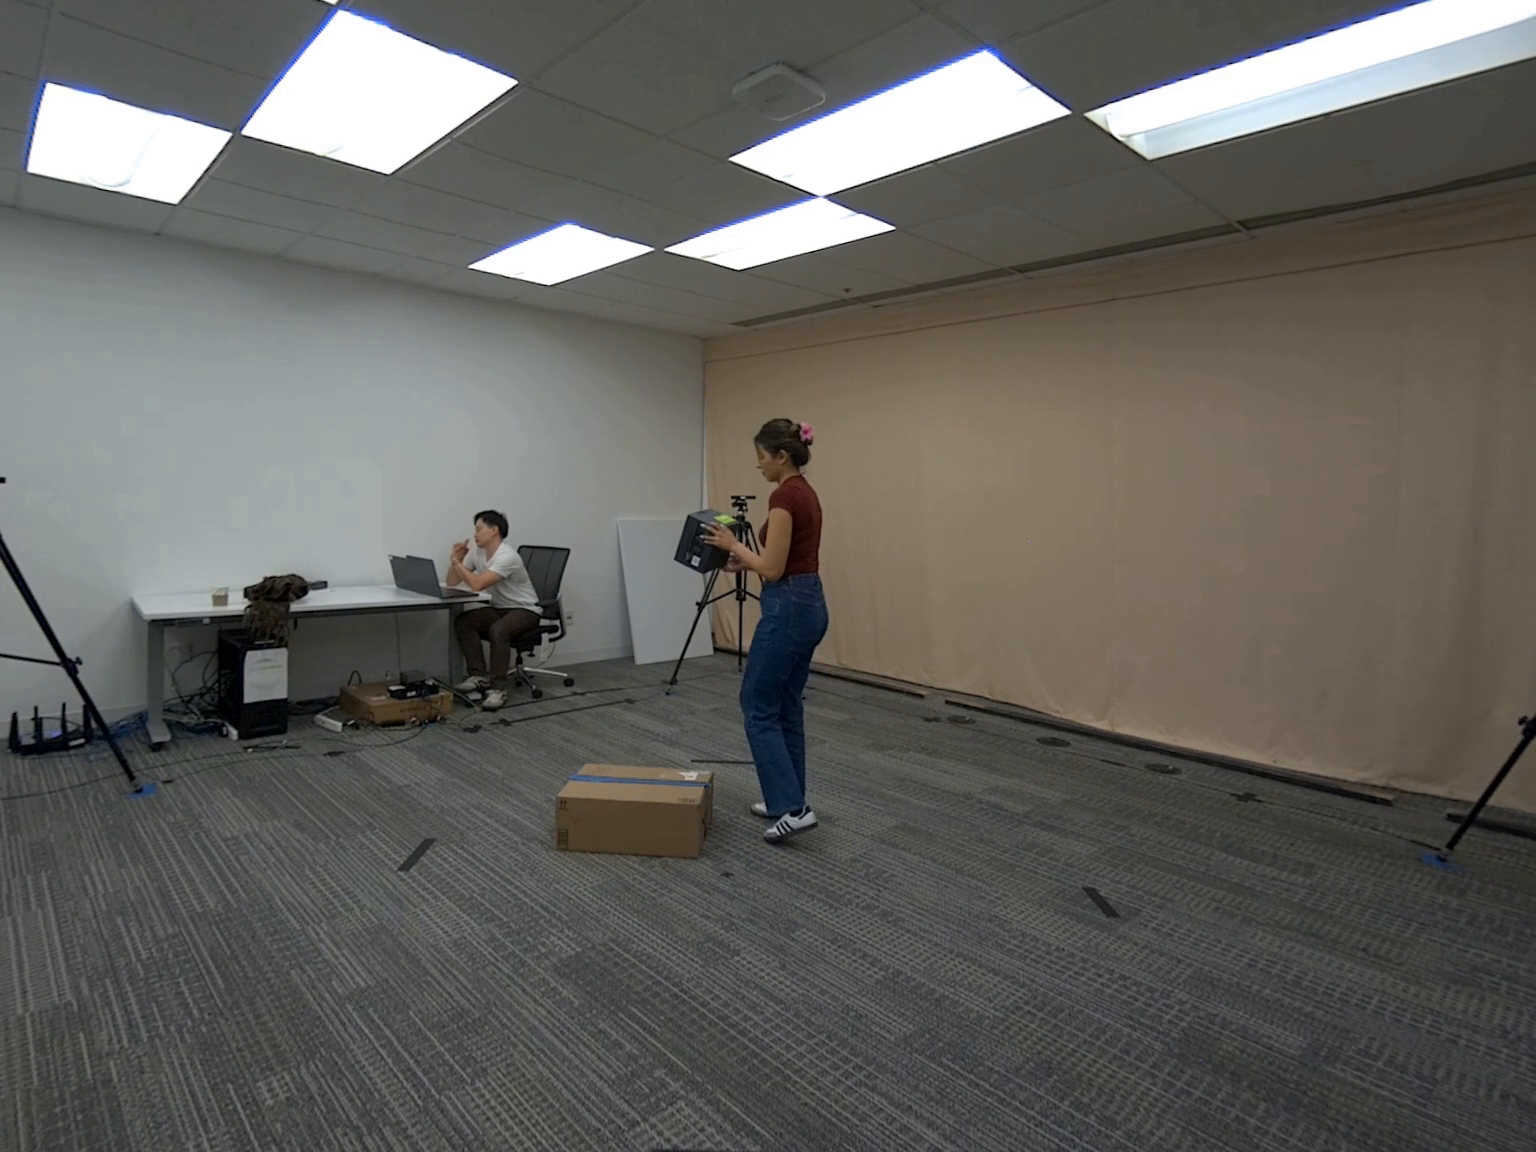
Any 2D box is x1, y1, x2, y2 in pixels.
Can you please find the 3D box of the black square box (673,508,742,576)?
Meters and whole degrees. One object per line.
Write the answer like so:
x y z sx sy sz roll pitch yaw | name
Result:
-0.261 -0.153 3.665 0.159 0.215 0.225 24 19 17 | black square box
